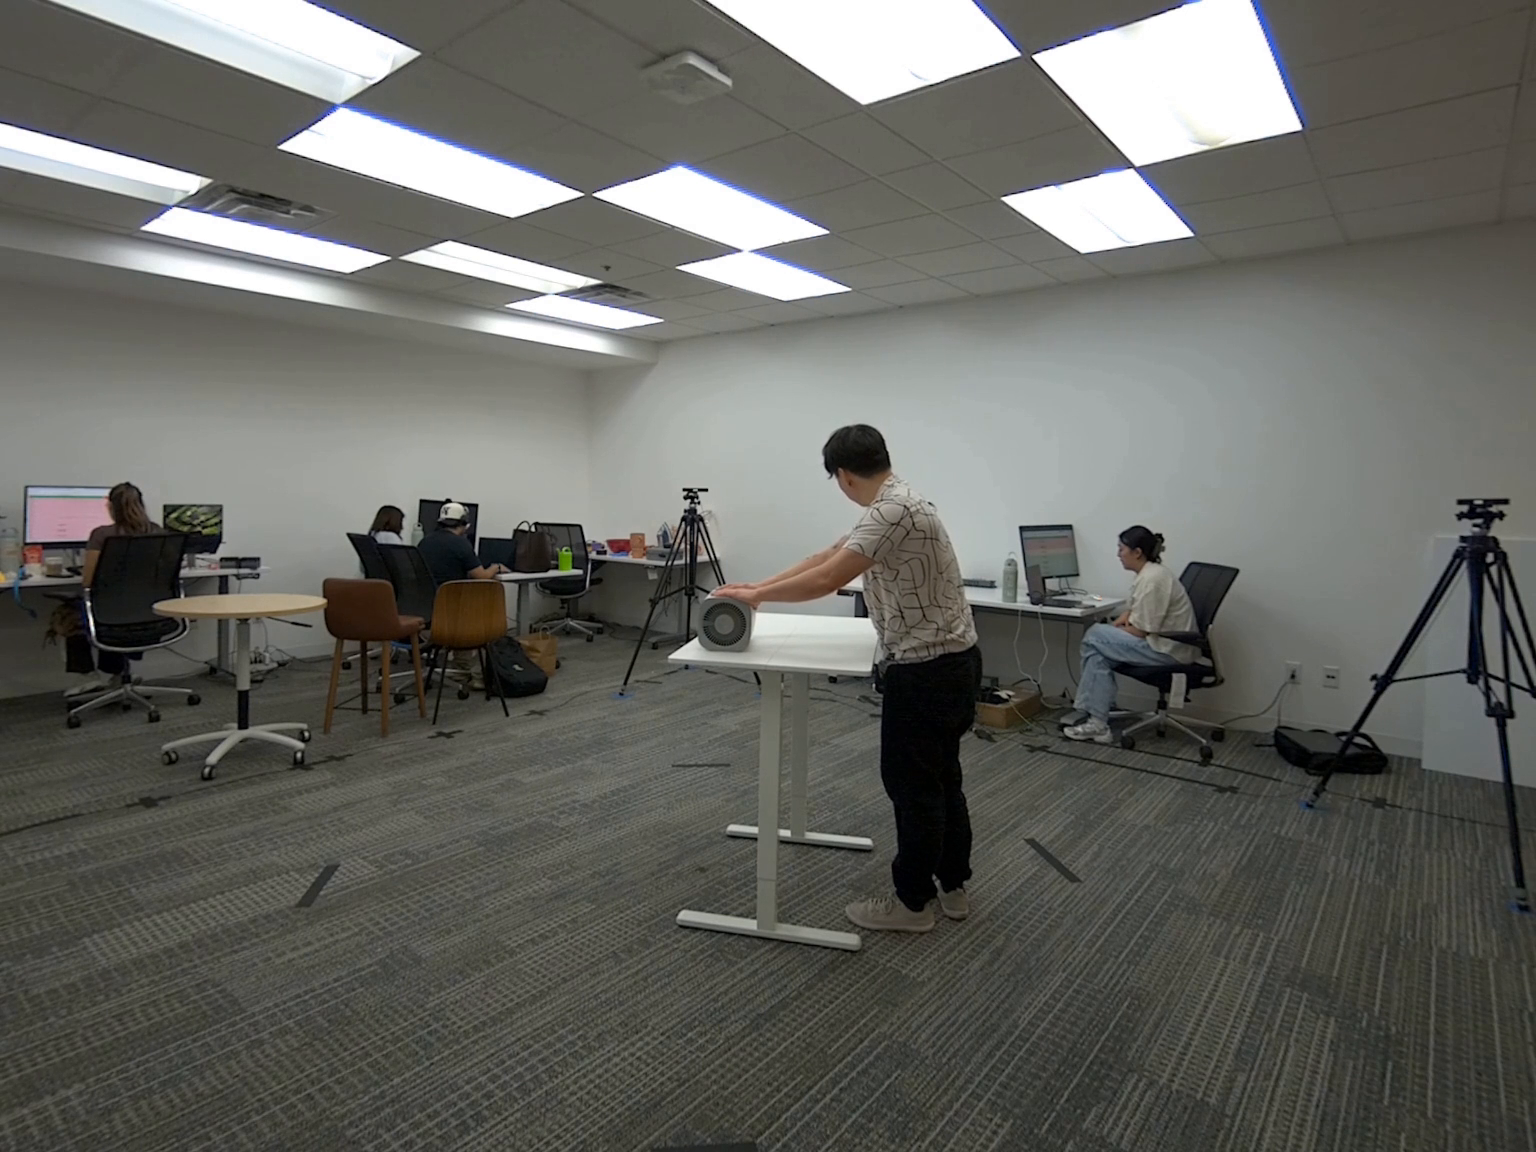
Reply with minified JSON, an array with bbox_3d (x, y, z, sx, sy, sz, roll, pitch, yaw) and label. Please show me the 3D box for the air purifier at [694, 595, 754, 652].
[{"bbox_3d":[-0.140,0.135,2.791,0.173,0.170,0.265,2,5,4],"label":"air purifier"}]
